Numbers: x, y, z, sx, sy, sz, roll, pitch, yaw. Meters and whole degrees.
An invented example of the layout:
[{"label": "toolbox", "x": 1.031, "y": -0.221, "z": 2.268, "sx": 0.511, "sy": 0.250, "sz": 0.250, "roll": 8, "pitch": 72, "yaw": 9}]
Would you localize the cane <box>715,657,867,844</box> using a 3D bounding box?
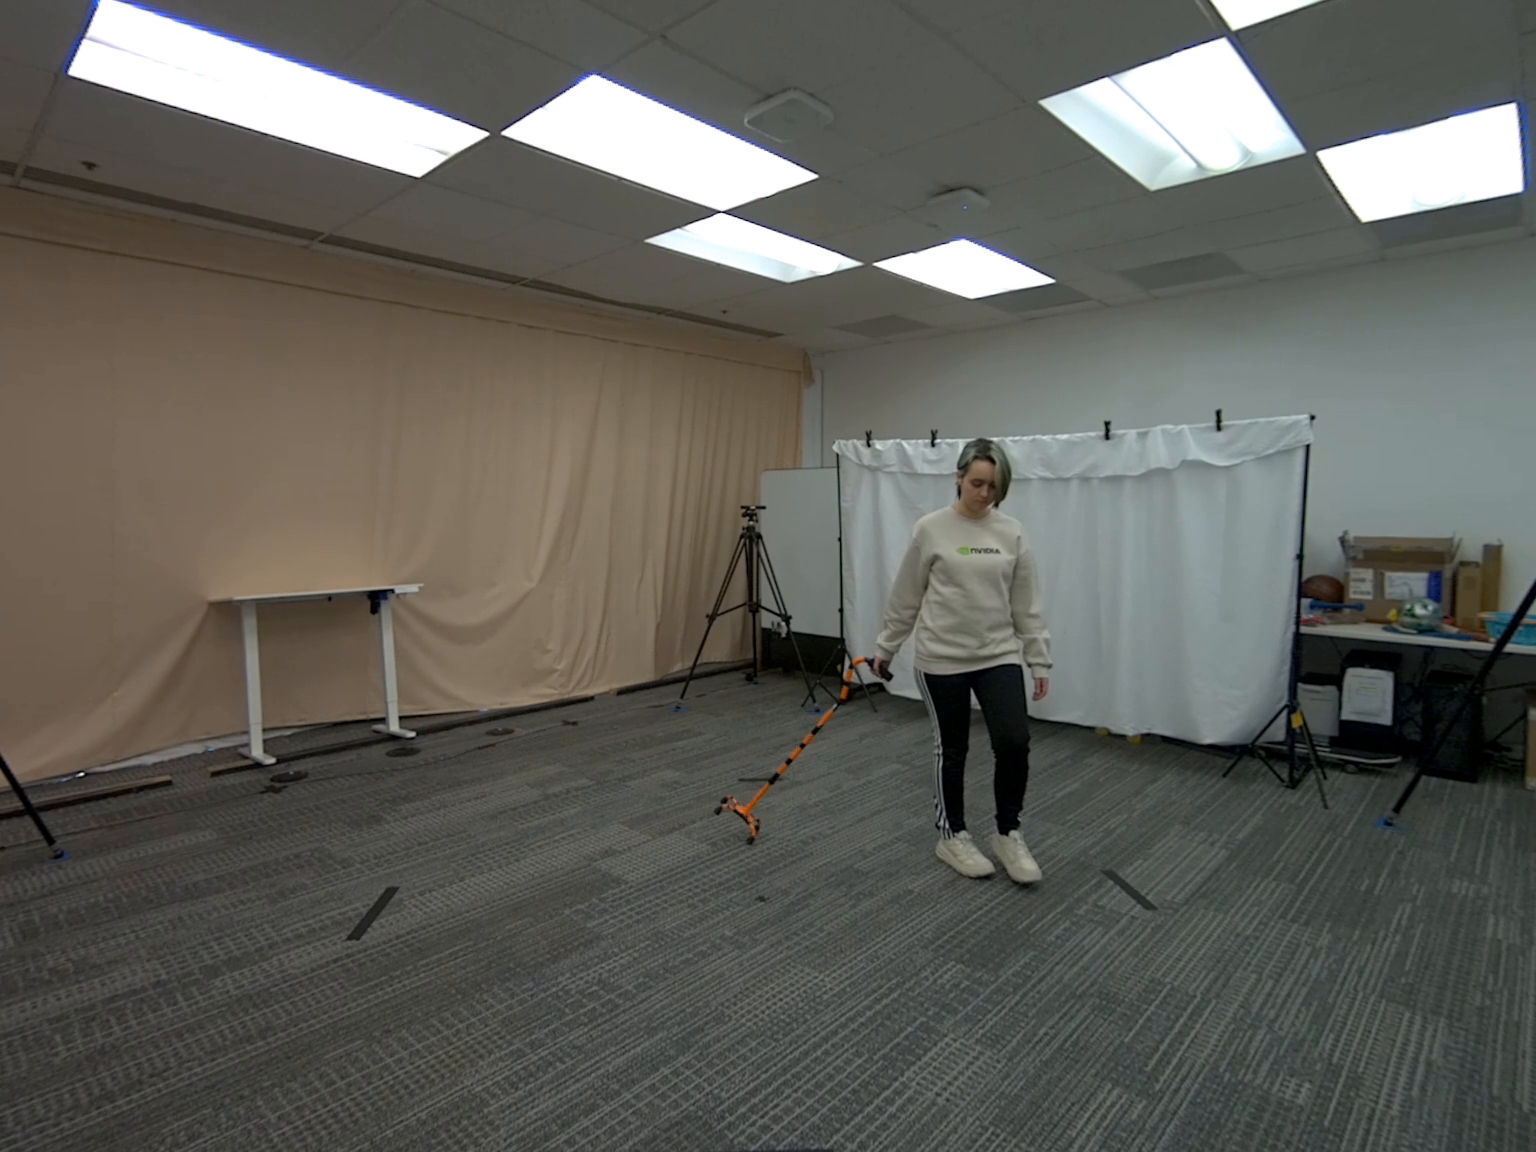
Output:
[{"label": "cane", "x": 0.142, "y": 0.687, "z": 3.455, "sx": 0.209, "sy": 0.909, "sz": 0.150, "roll": 40, "pitch": 10, "yaw": 8}]
